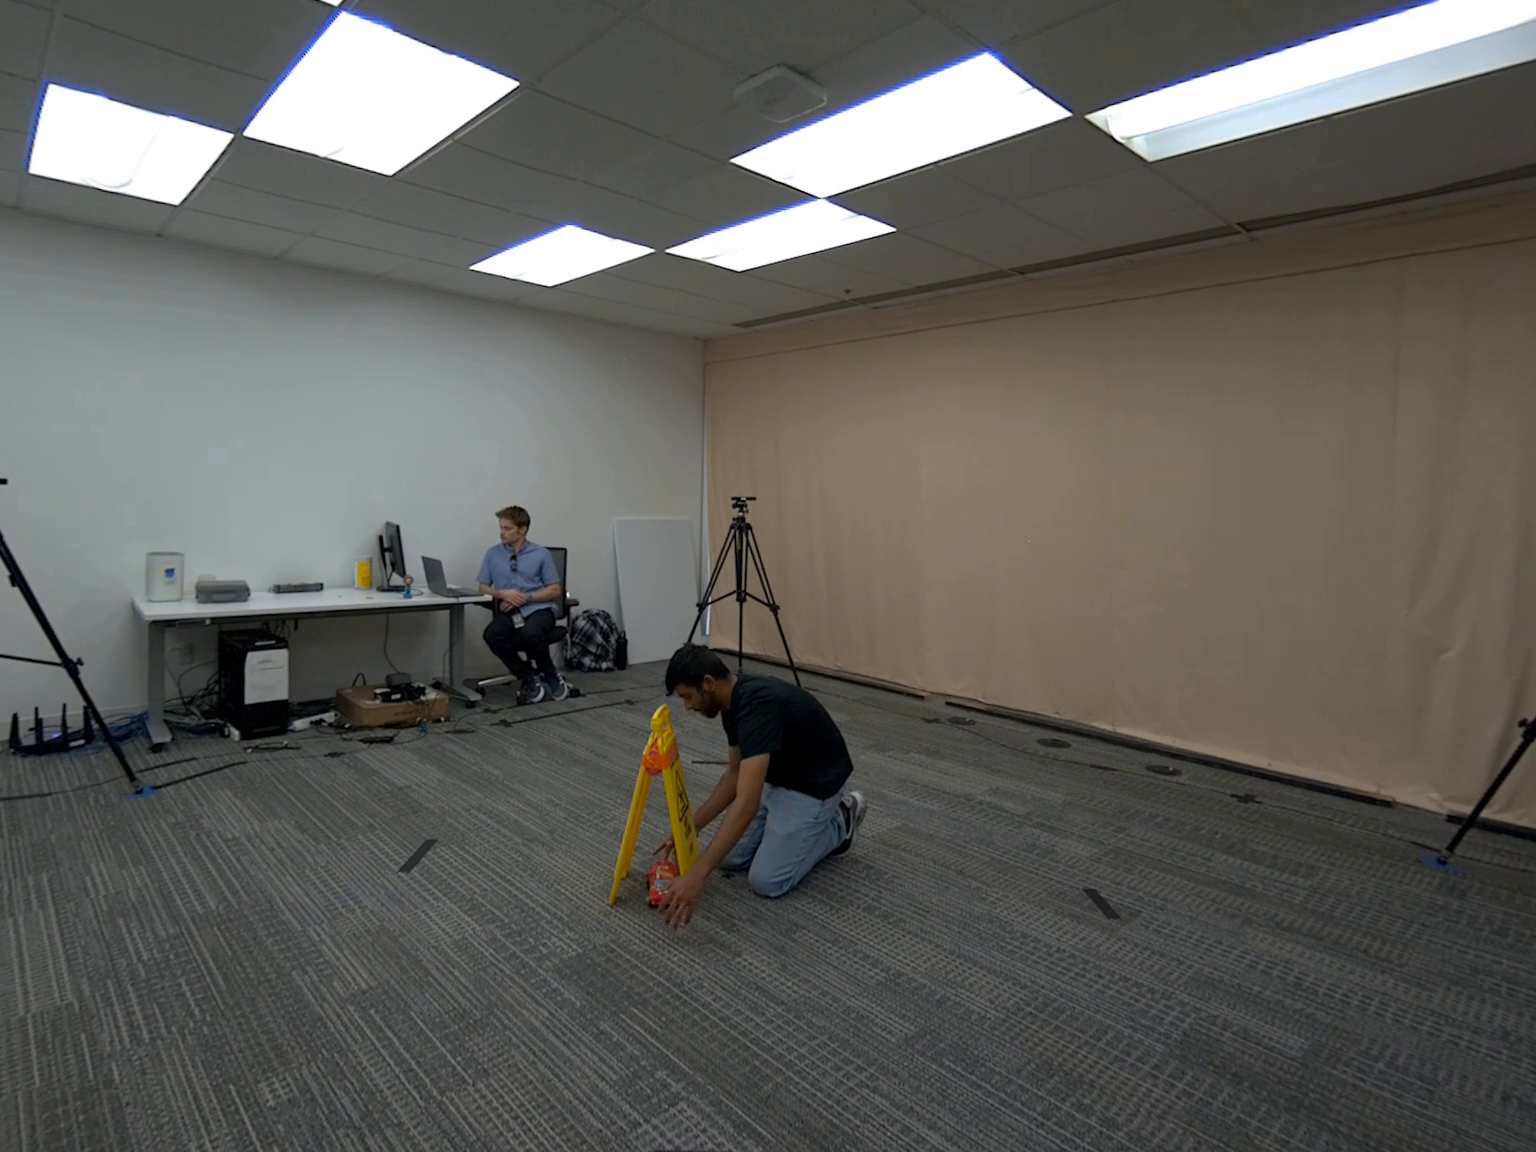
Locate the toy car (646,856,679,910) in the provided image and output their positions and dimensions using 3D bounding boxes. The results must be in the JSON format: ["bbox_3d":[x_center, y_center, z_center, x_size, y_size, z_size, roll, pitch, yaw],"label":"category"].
[{"bbox_3d":[-0.371,1.076,2.994,0.129,0.082,0.258,-2,12,-8],"label":"toy car"}]
